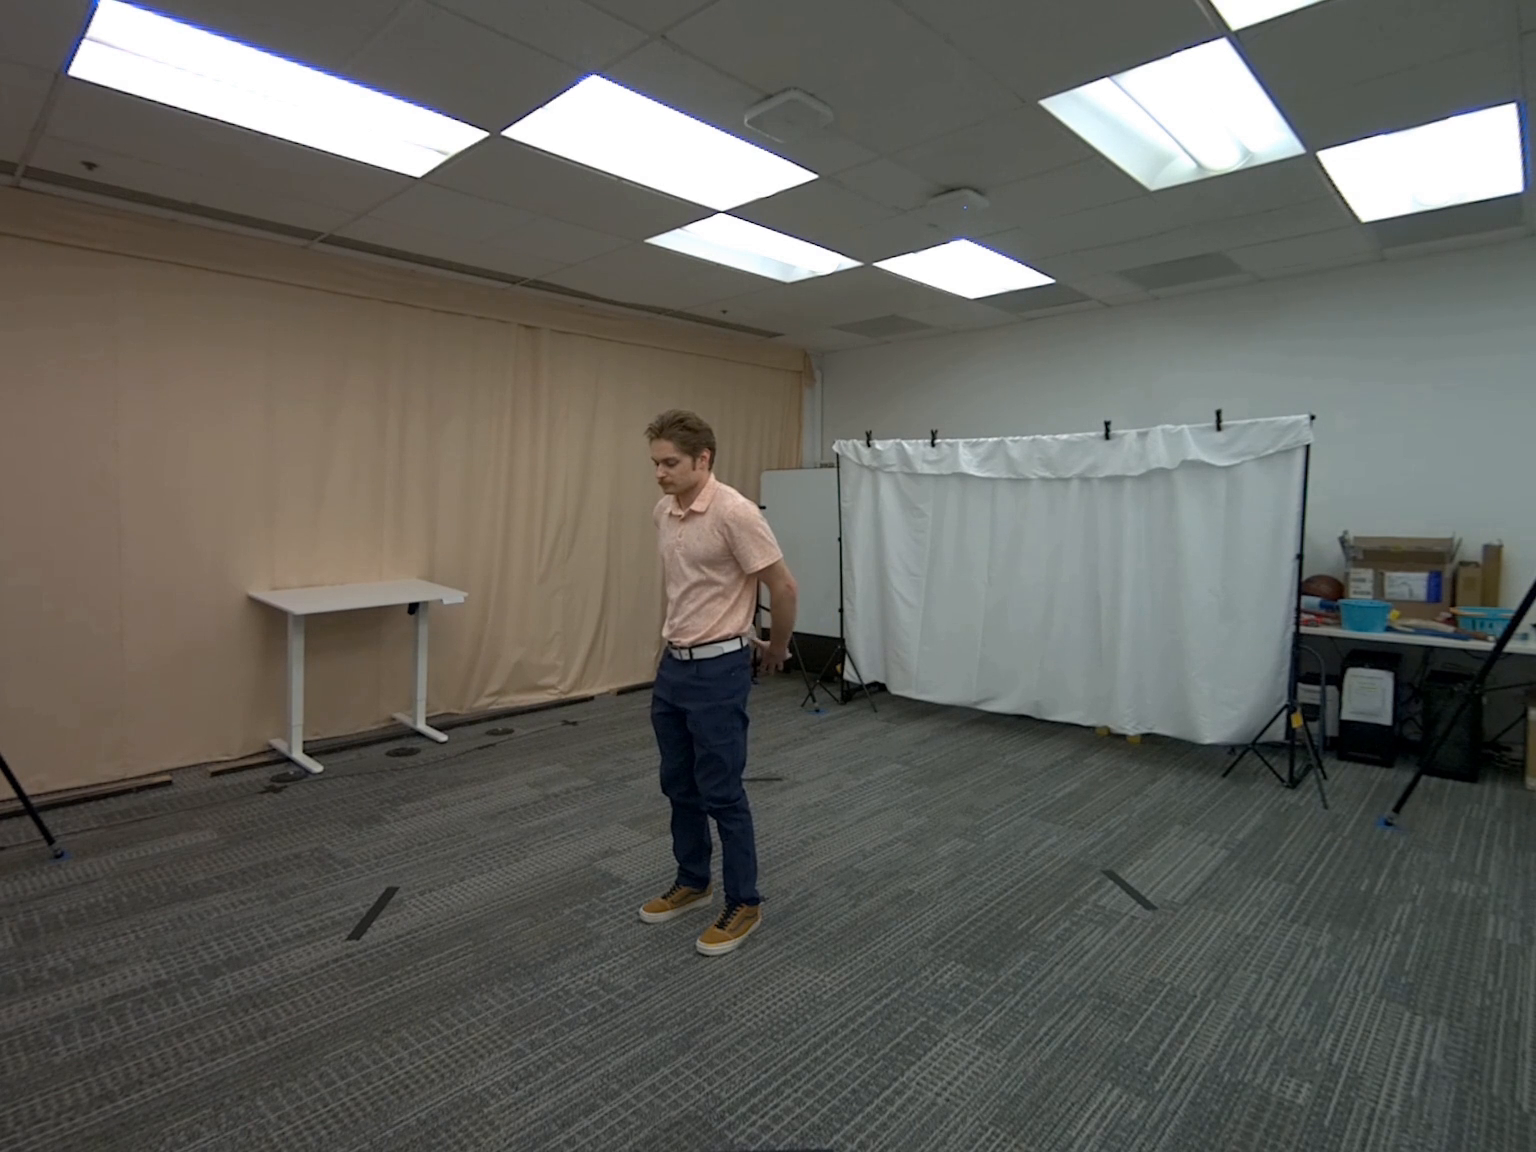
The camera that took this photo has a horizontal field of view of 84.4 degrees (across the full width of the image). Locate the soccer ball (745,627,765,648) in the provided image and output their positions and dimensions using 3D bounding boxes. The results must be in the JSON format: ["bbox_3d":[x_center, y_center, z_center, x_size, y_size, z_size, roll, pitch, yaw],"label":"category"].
[{"bbox_3d":[-0.141,0.230,3.042,0.187,0.187,0.188,0,4,-2],"label":"soccer ball"}]
